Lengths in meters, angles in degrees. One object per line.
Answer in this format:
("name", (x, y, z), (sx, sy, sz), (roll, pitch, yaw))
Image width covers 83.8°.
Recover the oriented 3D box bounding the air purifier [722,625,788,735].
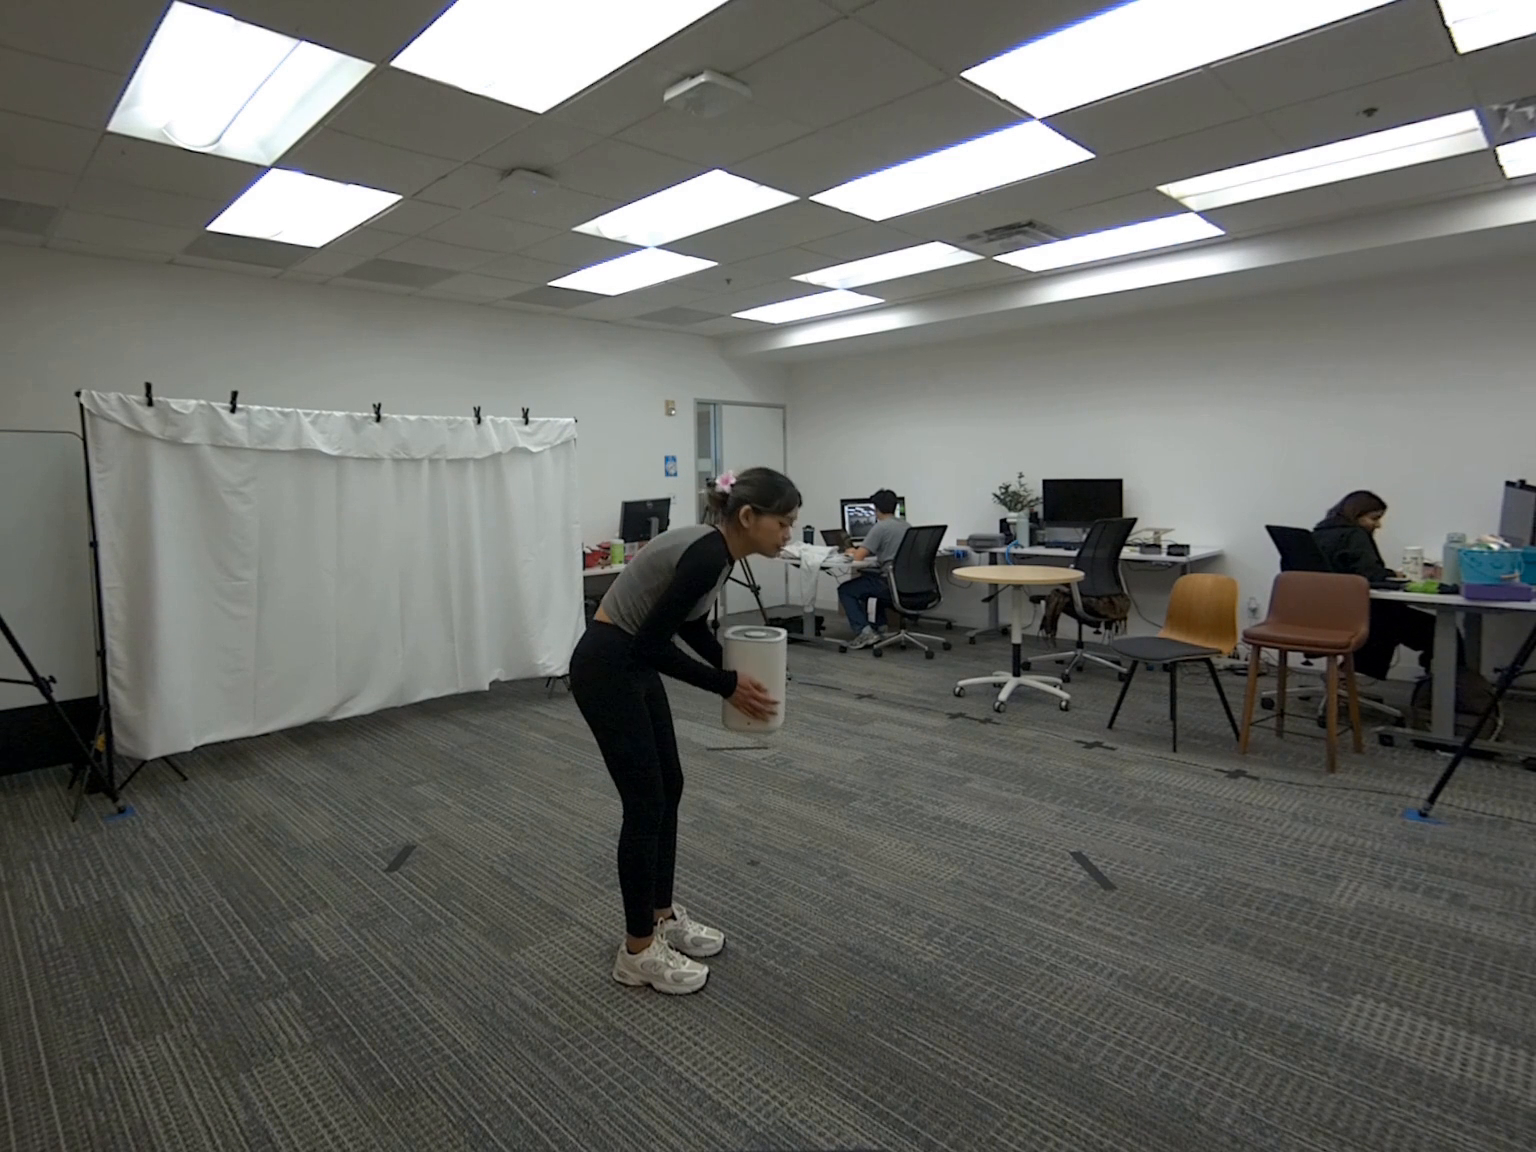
("air purifier", (-0.036, 0.289, 2.375), (0.172, 0.264, 0.171), (3, 6, 8))
